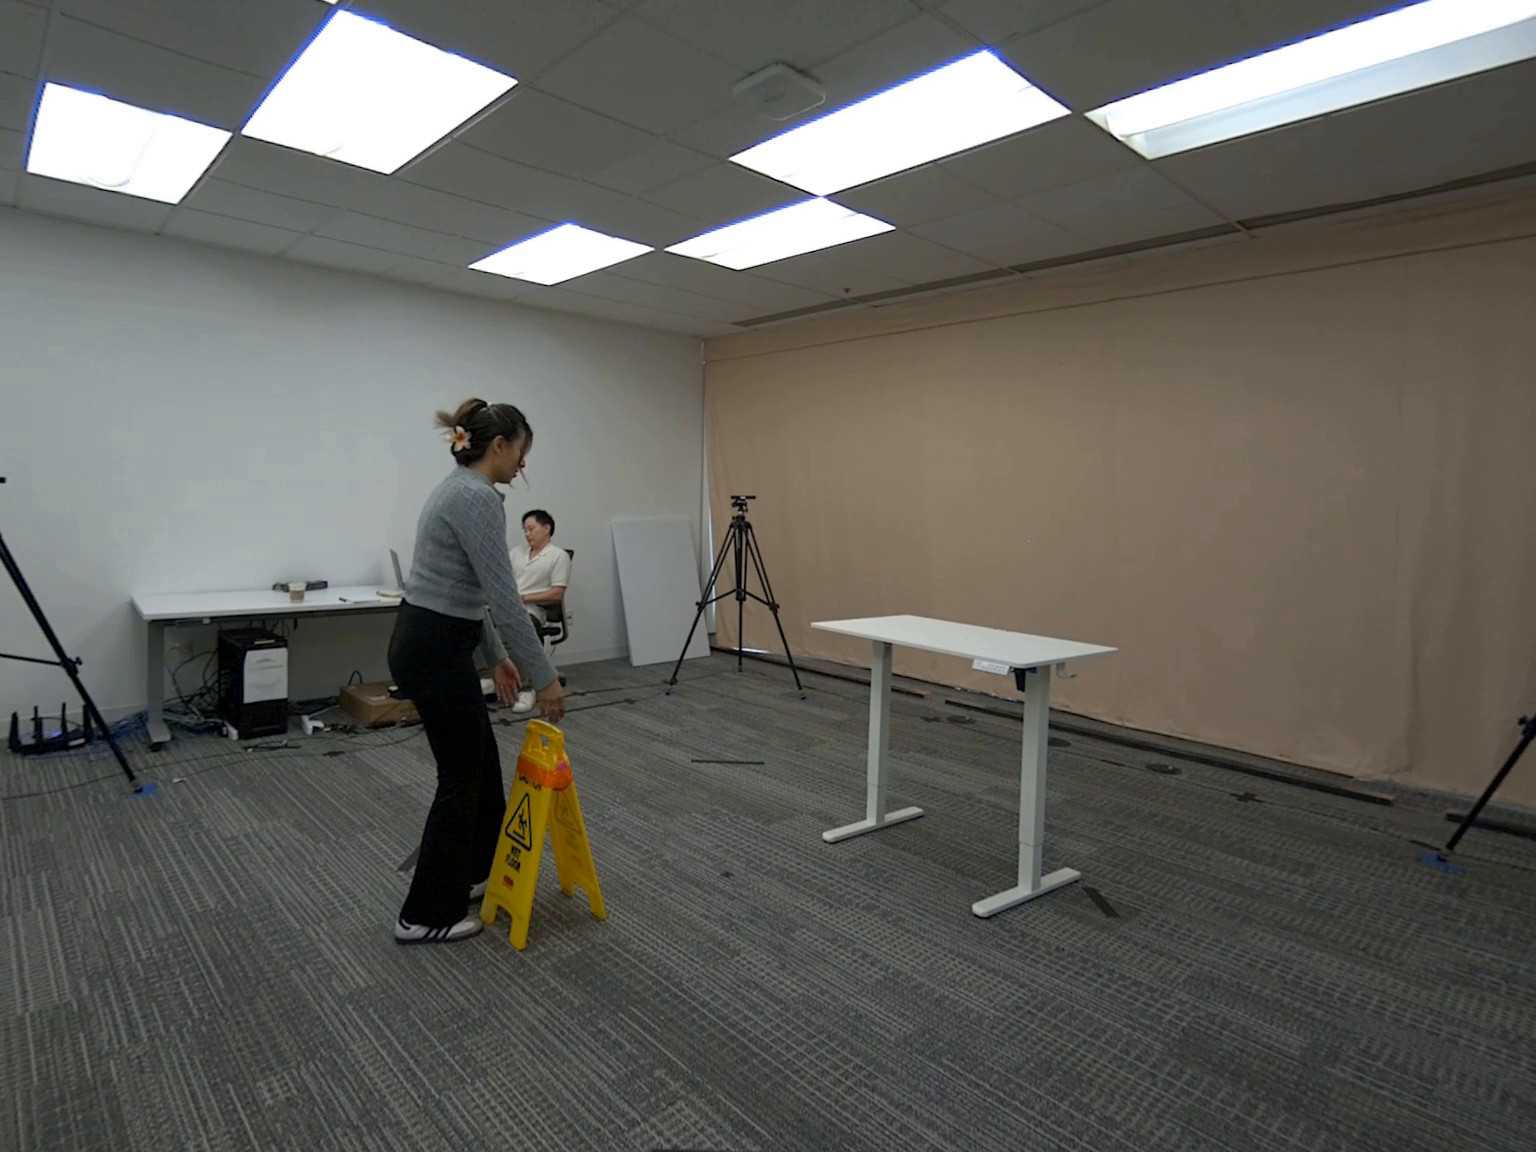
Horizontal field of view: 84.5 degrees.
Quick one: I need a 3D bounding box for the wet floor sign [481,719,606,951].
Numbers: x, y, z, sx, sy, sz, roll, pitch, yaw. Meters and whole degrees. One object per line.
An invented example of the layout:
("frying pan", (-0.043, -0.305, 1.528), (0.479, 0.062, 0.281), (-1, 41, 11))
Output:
("wet floor sign", (-0.733, 0.805, 2.738), (0.283, 0.644, 0.289), (-2, 5, -43))
